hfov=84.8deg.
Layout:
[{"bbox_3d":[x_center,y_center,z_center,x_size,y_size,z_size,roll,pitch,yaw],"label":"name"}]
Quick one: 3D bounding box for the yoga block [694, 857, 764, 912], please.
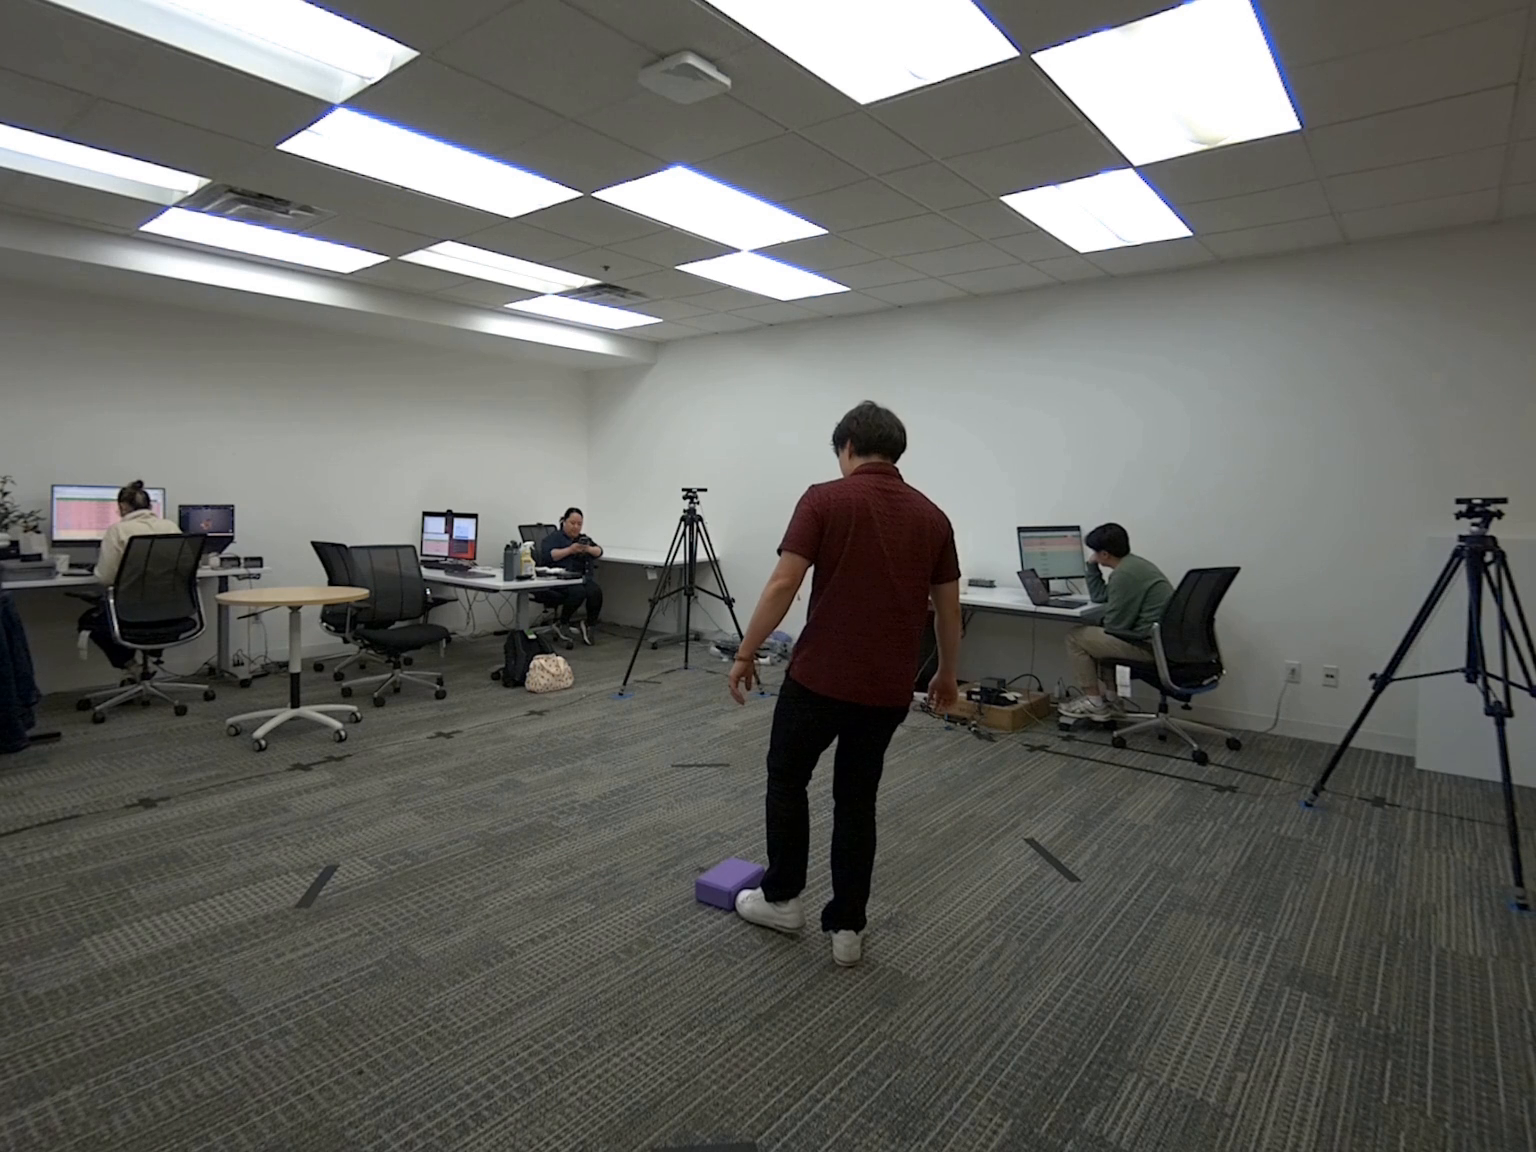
[{"bbox_3d":[-0.140,1.048,2.921,0.153,0.076,0.223,4,6,31],"label":"yoga block"}]
